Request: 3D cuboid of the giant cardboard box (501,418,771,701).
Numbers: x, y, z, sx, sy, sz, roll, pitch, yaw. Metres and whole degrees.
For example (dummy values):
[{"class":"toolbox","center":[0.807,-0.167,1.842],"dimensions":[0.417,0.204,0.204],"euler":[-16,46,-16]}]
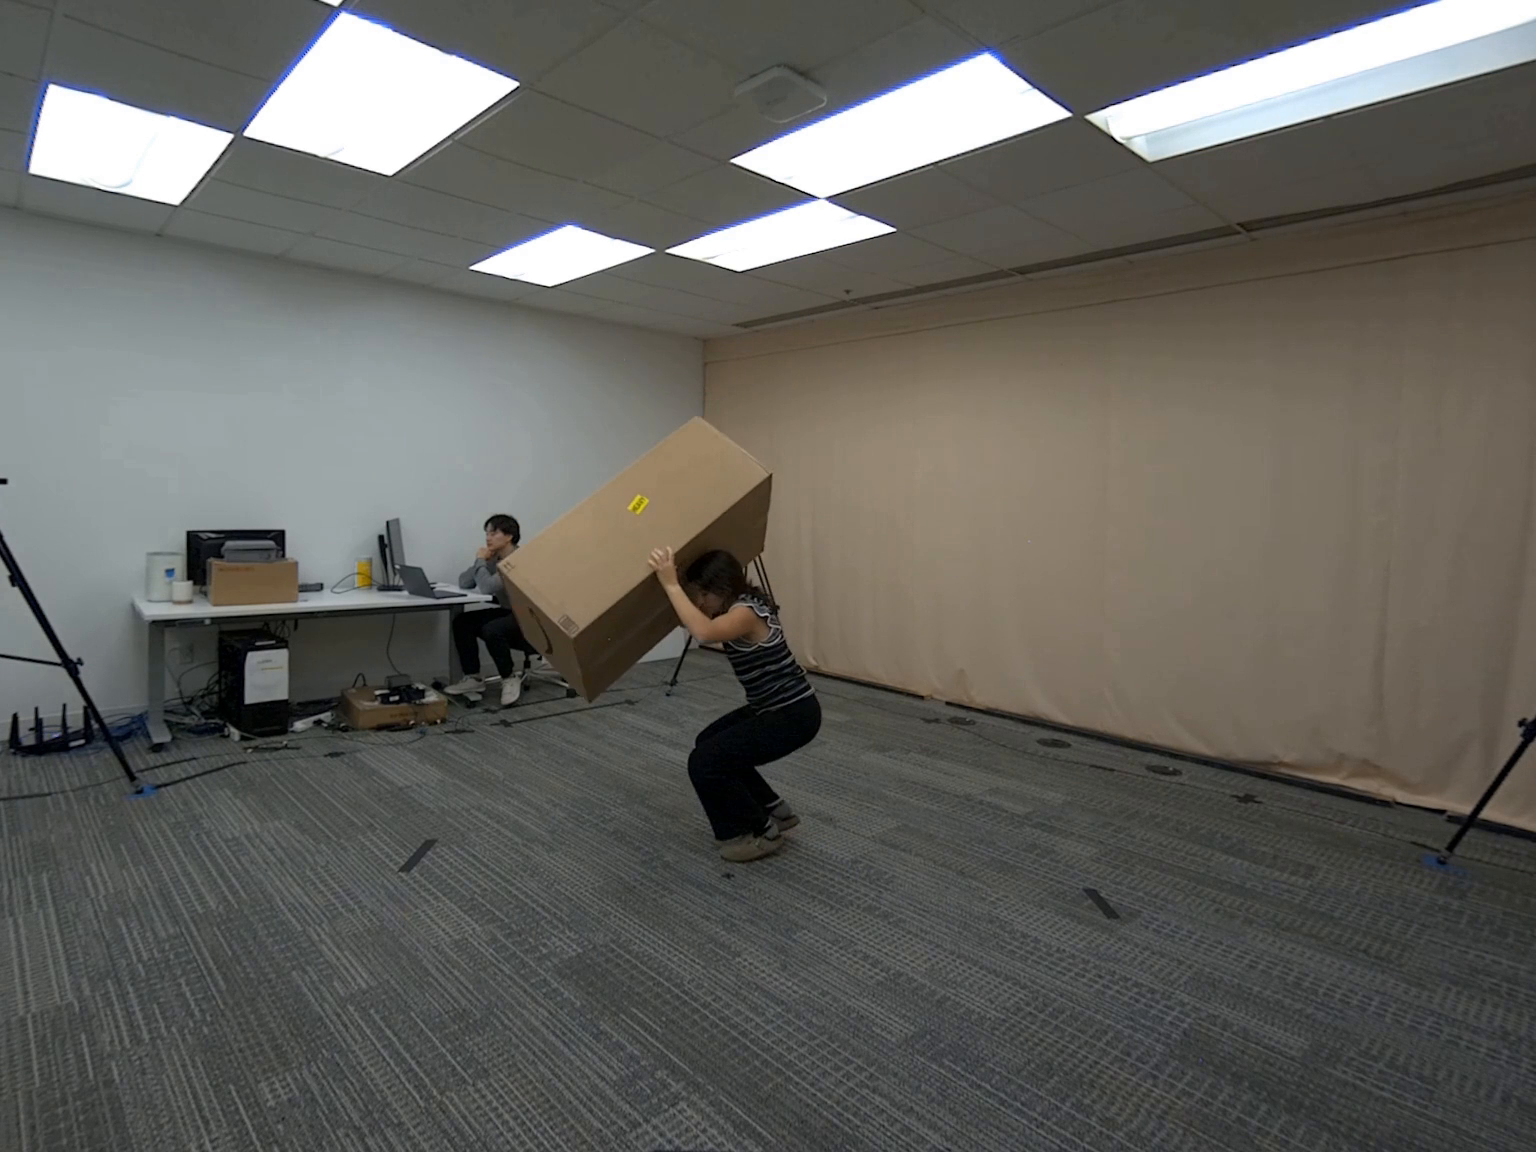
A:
[{"class":"giant cardboard box","center":[-0.502,-0.075,3.390],"dimensions":[0.435,1.023,0.567],"euler":[40,-25,19]}]
